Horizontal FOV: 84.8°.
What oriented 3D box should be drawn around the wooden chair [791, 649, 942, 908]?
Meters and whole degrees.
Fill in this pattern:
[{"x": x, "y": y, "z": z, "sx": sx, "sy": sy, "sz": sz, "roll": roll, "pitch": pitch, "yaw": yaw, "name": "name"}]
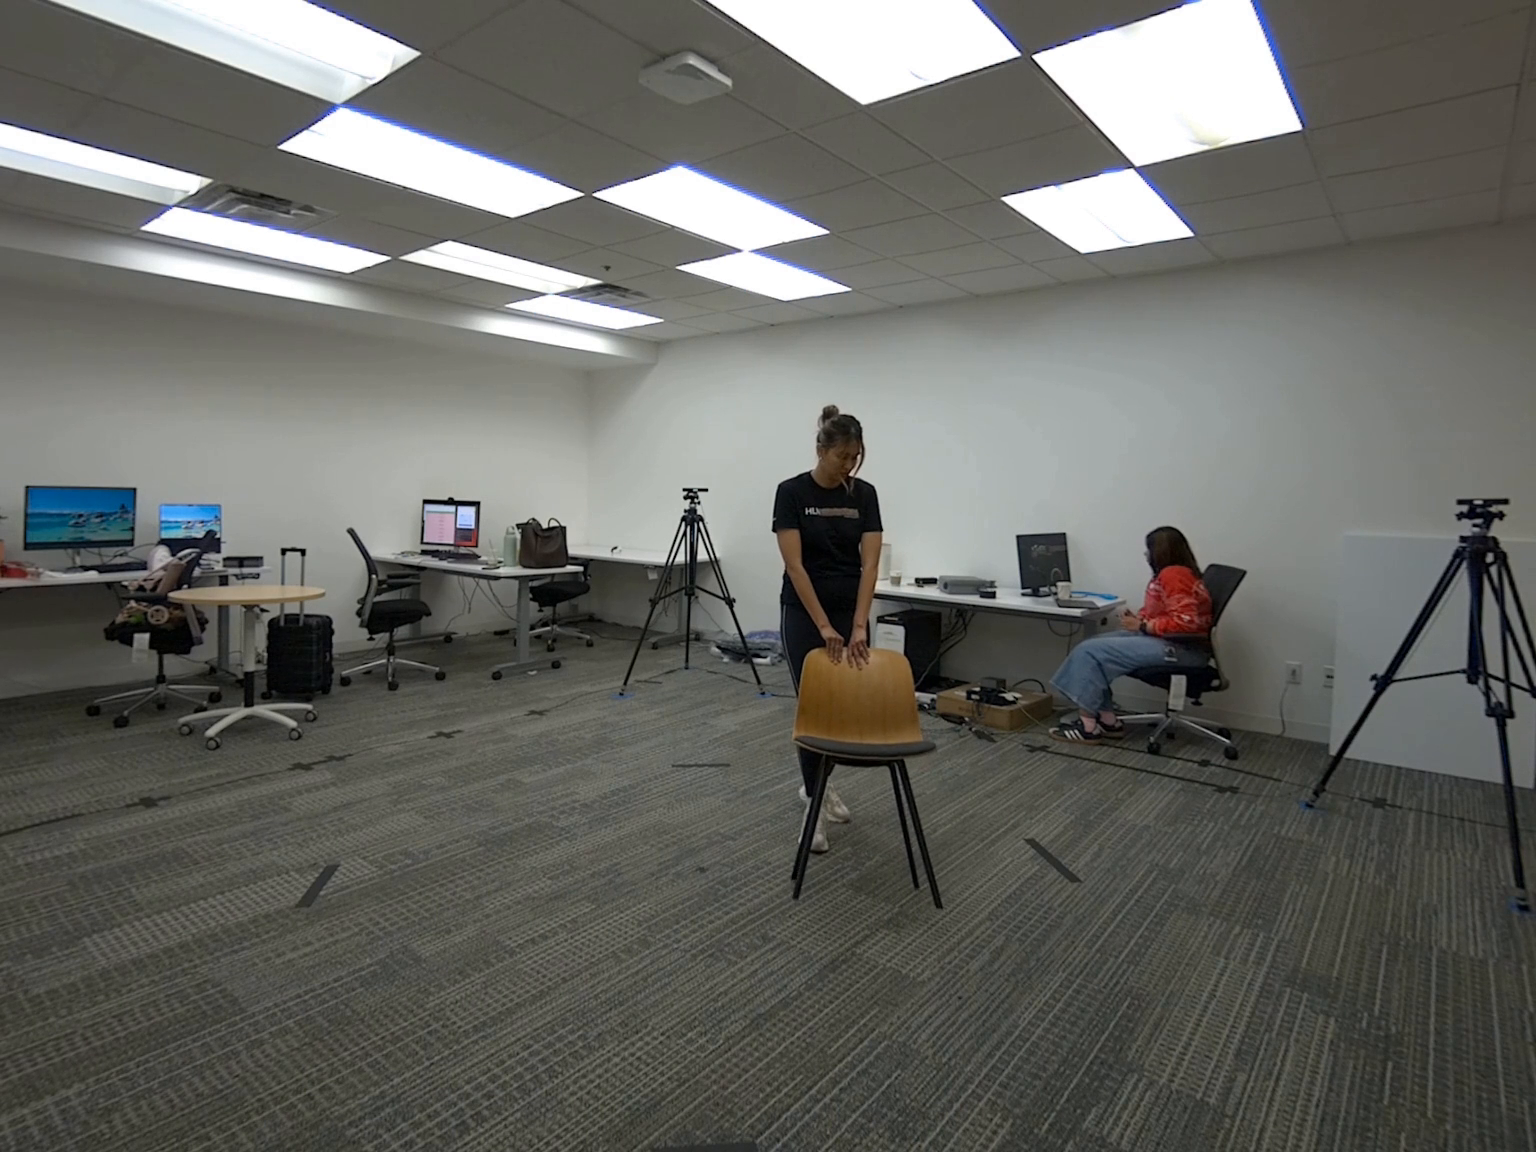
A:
[{"x": 0.317, "y": 0.625, "z": 2.899, "sx": 0.480, "sy": 0.892, "sz": 0.512, "roll": 1, "pitch": -18, "yaw": 3, "name": "wooden chair"}]
